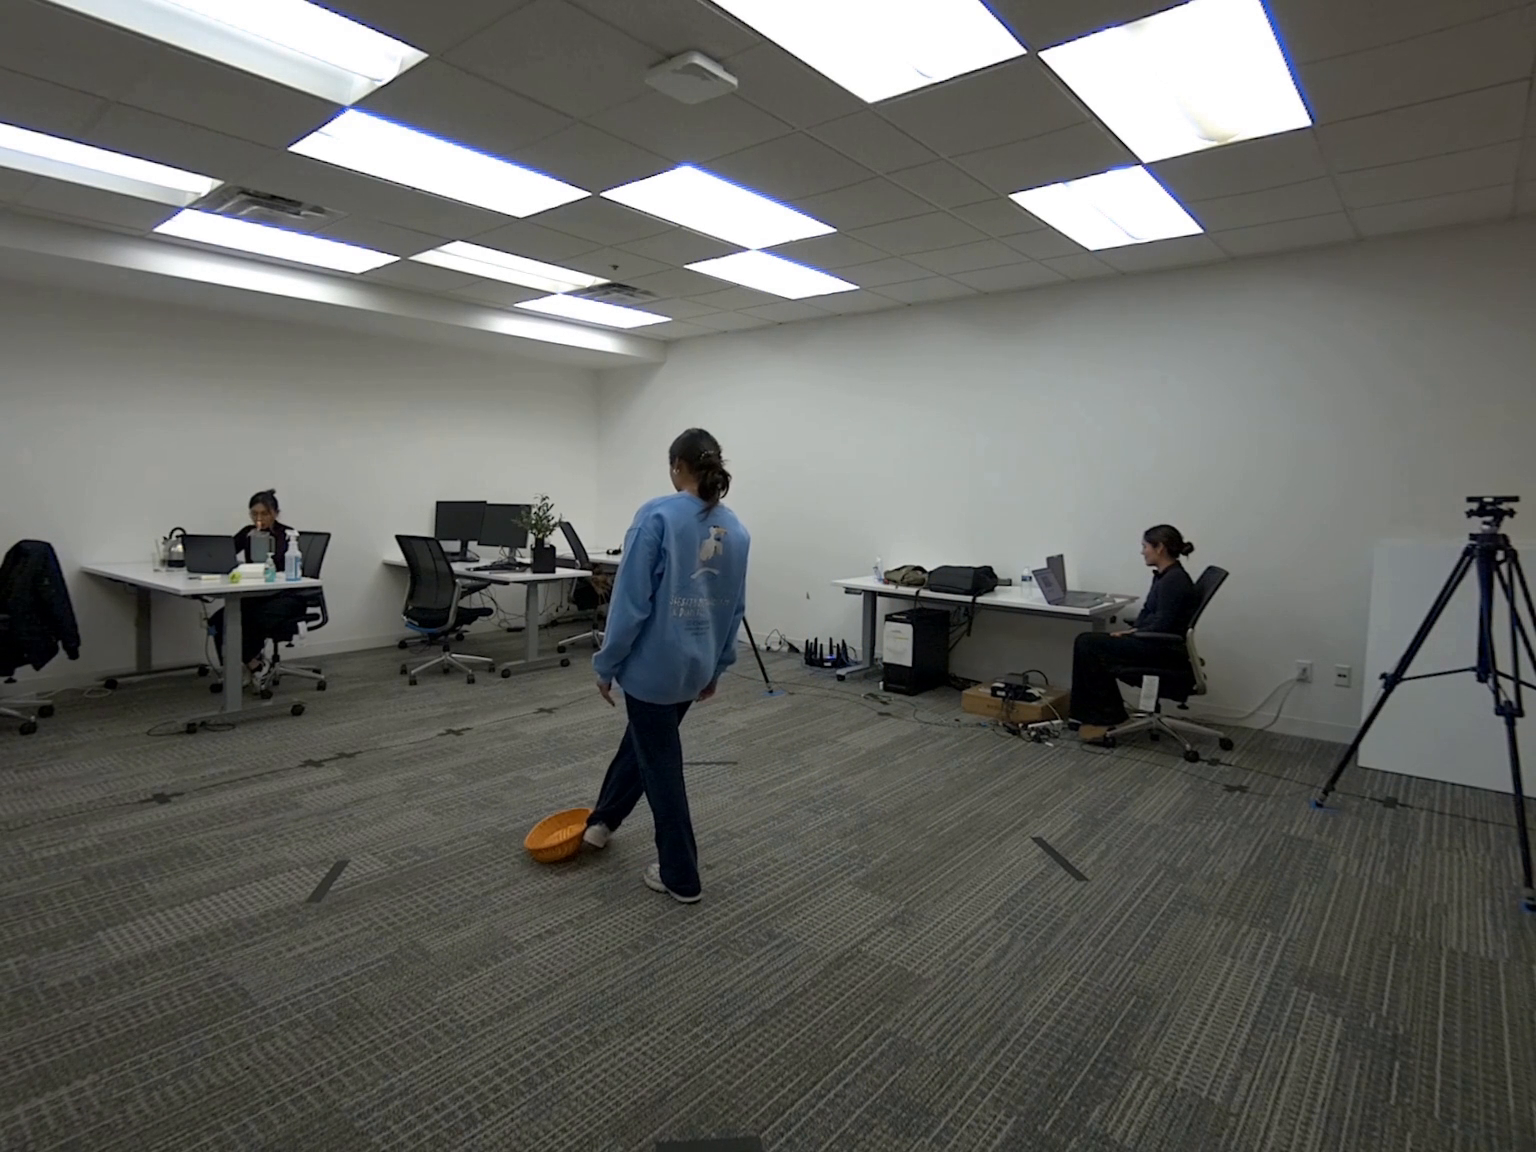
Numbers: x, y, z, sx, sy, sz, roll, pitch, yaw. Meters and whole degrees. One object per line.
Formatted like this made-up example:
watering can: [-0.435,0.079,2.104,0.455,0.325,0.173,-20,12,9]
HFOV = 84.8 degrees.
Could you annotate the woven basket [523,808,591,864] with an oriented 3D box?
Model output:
woven basket: [-0.800,0.986,3.233,0.254,0.073,0.350,-13,6,7]
